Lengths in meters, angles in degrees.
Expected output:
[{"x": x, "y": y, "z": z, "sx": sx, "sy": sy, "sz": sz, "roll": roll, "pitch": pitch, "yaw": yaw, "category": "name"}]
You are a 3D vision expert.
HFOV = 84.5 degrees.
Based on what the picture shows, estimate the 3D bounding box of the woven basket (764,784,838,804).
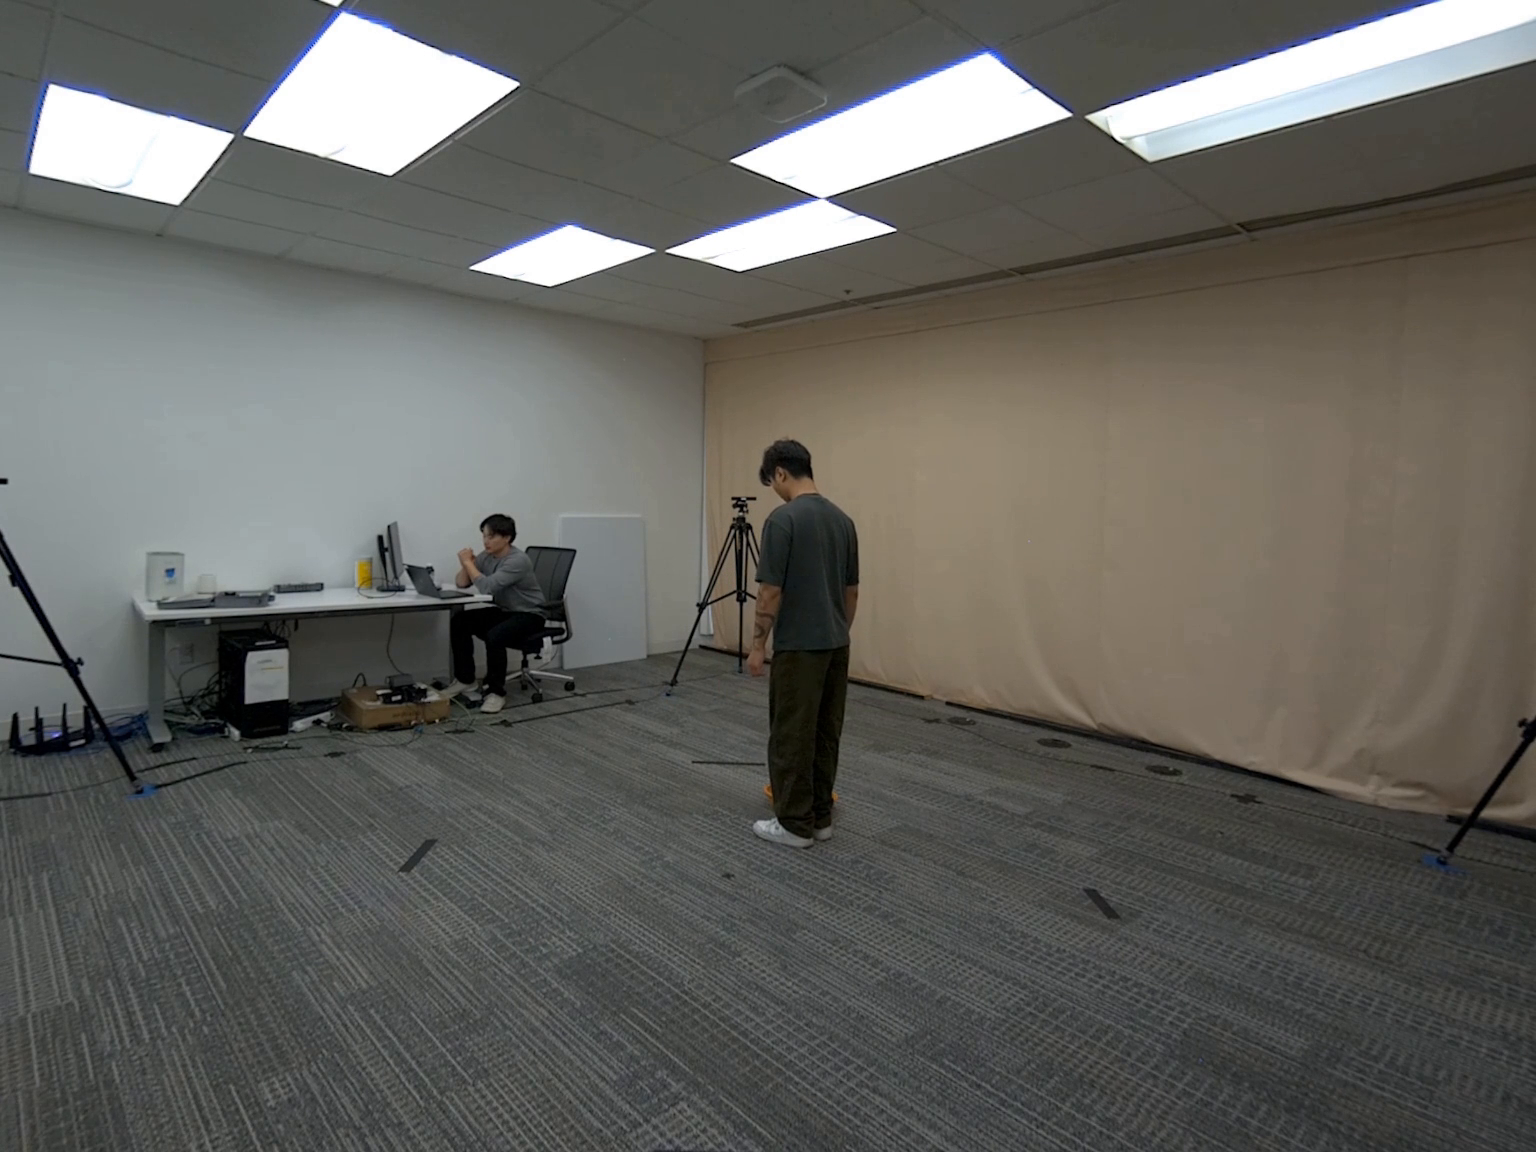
[{"x": 0.140, "y": 1.020, "z": 3.832, "sx": 0.359, "sy": 0.073, "sz": 0.247, "roll": 6, "pitch": 6, "yaw": 37, "category": "woven basket"}]
